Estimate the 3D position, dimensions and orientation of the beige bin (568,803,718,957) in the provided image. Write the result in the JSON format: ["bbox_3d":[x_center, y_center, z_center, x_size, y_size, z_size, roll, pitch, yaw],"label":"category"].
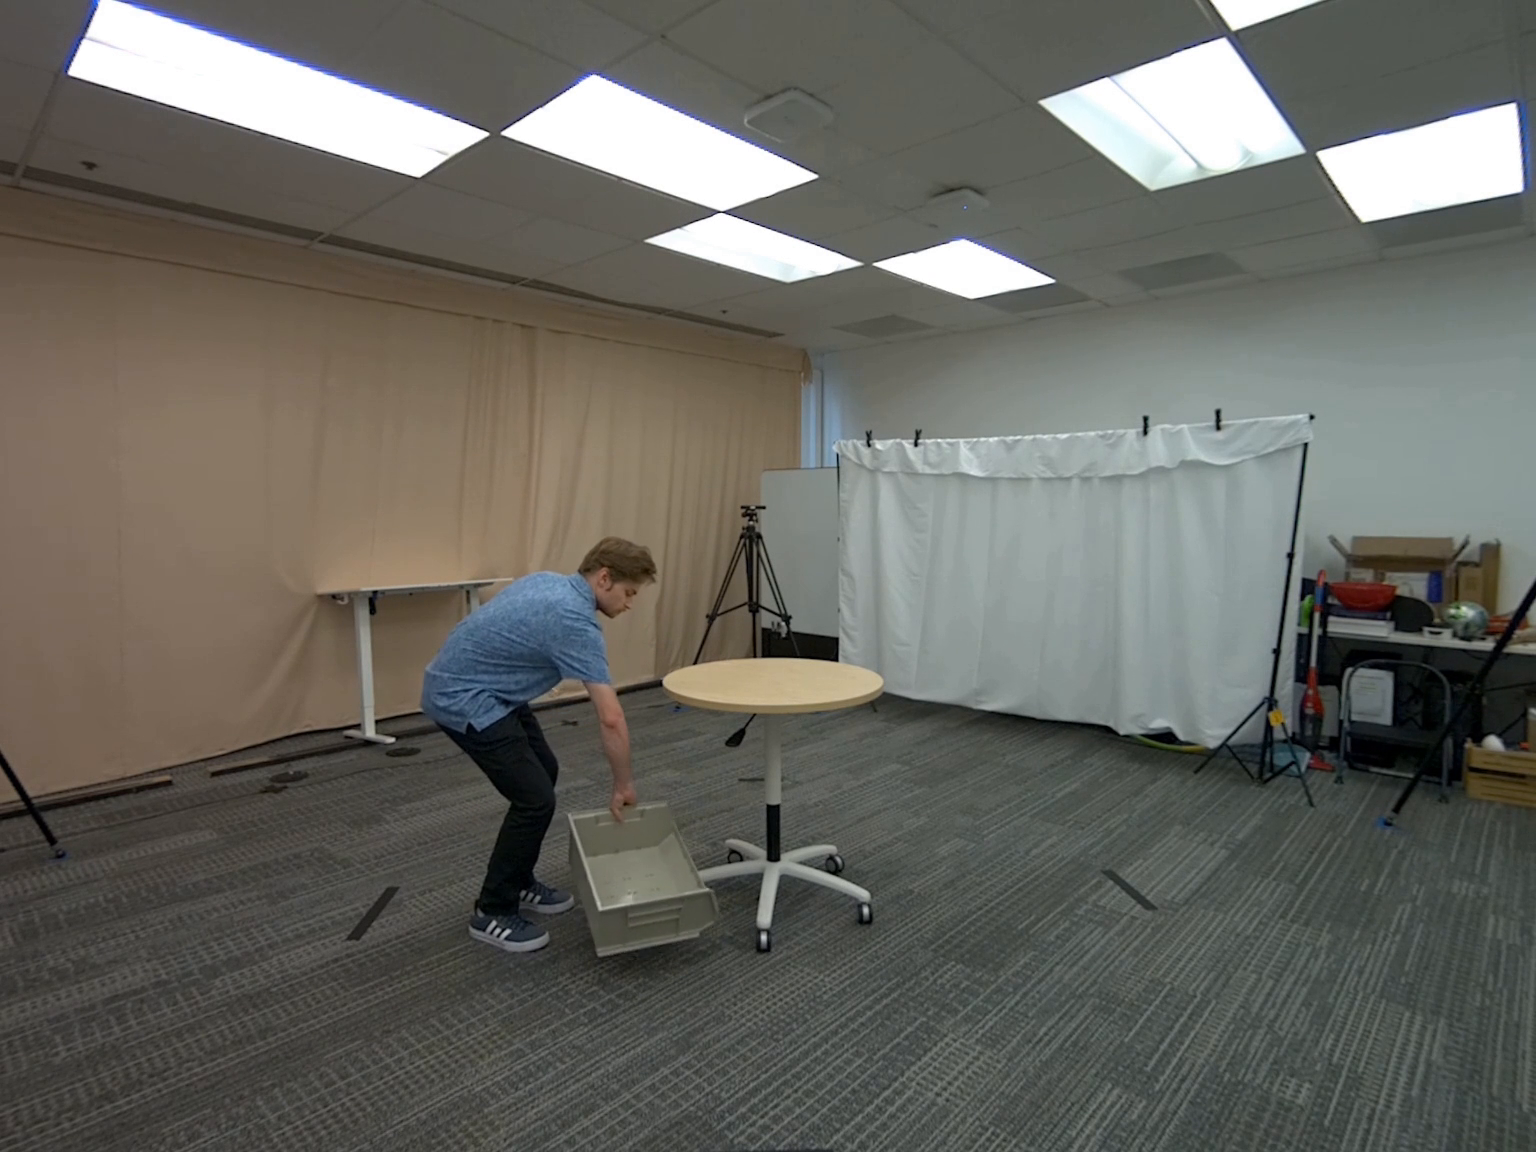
[{"bbox_3d":[-0.388,0.928,2.605,0.369,0.187,0.436,-3,23,-22],"label":"beige bin"}]
